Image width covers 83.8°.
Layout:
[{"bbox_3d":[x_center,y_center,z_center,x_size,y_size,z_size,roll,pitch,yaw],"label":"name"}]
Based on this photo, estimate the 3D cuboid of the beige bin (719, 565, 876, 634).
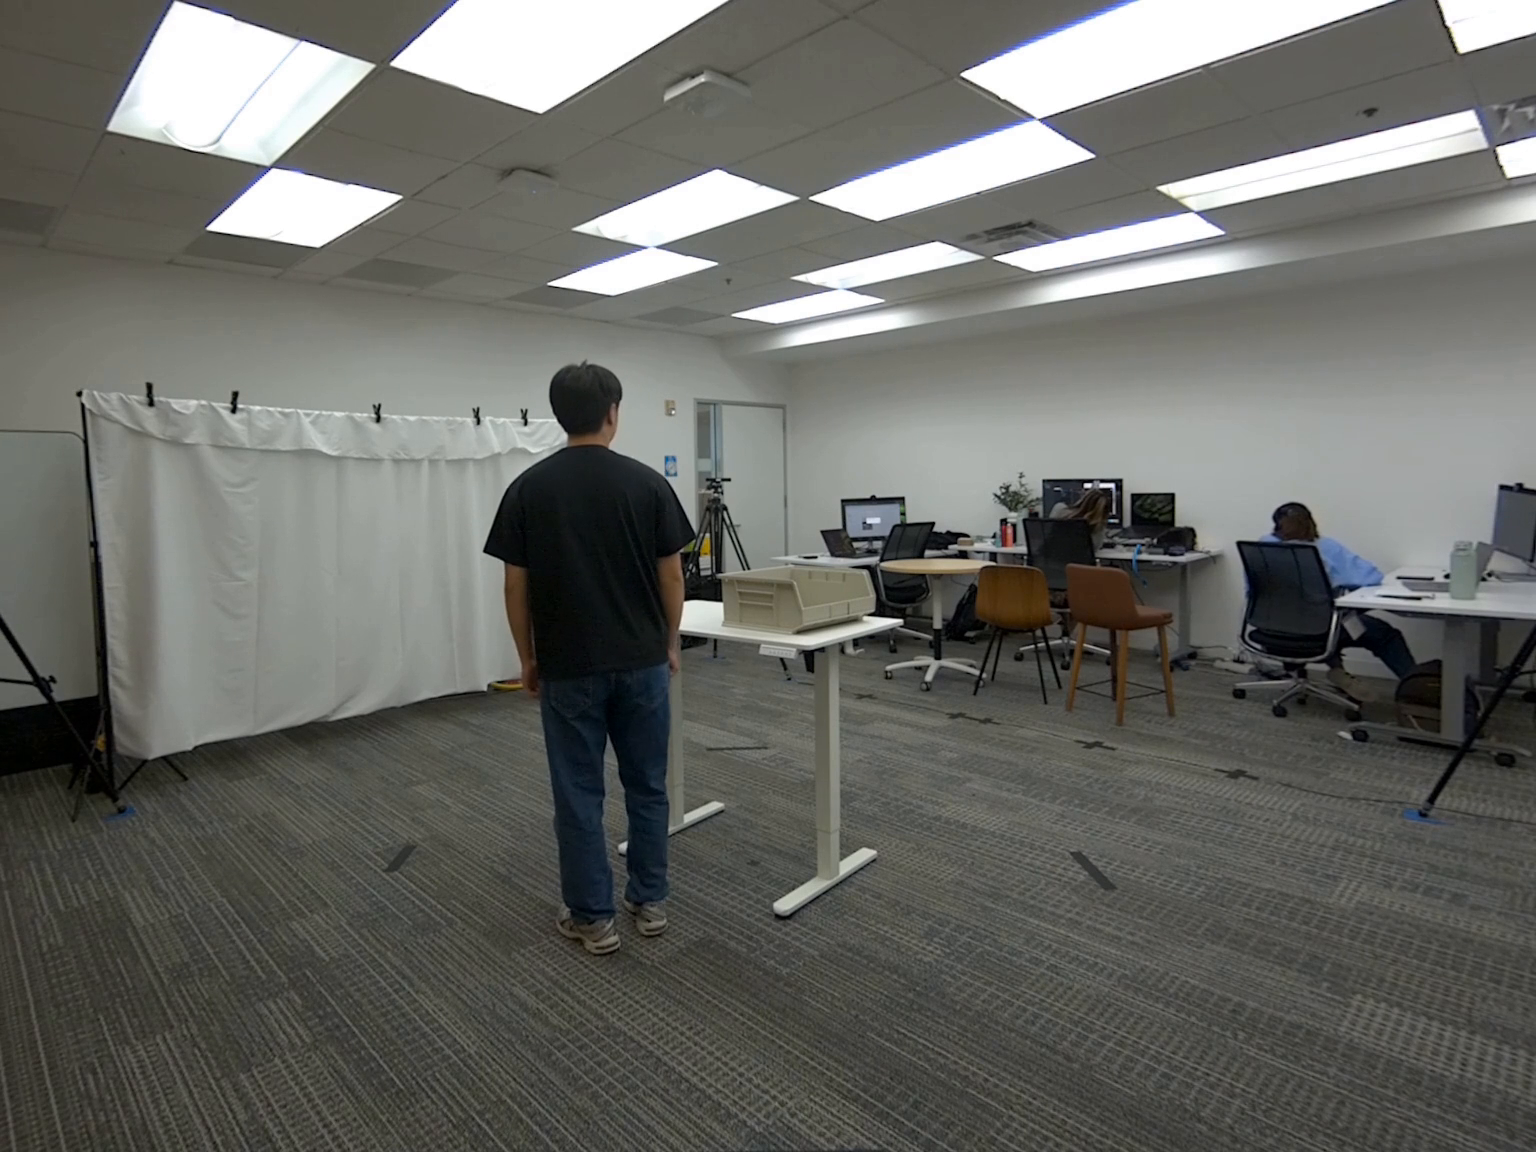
[{"bbox_3d":[0.105,0.081,2.996,0.388,0.188,0.411,2,7,42],"label":"beige bin"}]
